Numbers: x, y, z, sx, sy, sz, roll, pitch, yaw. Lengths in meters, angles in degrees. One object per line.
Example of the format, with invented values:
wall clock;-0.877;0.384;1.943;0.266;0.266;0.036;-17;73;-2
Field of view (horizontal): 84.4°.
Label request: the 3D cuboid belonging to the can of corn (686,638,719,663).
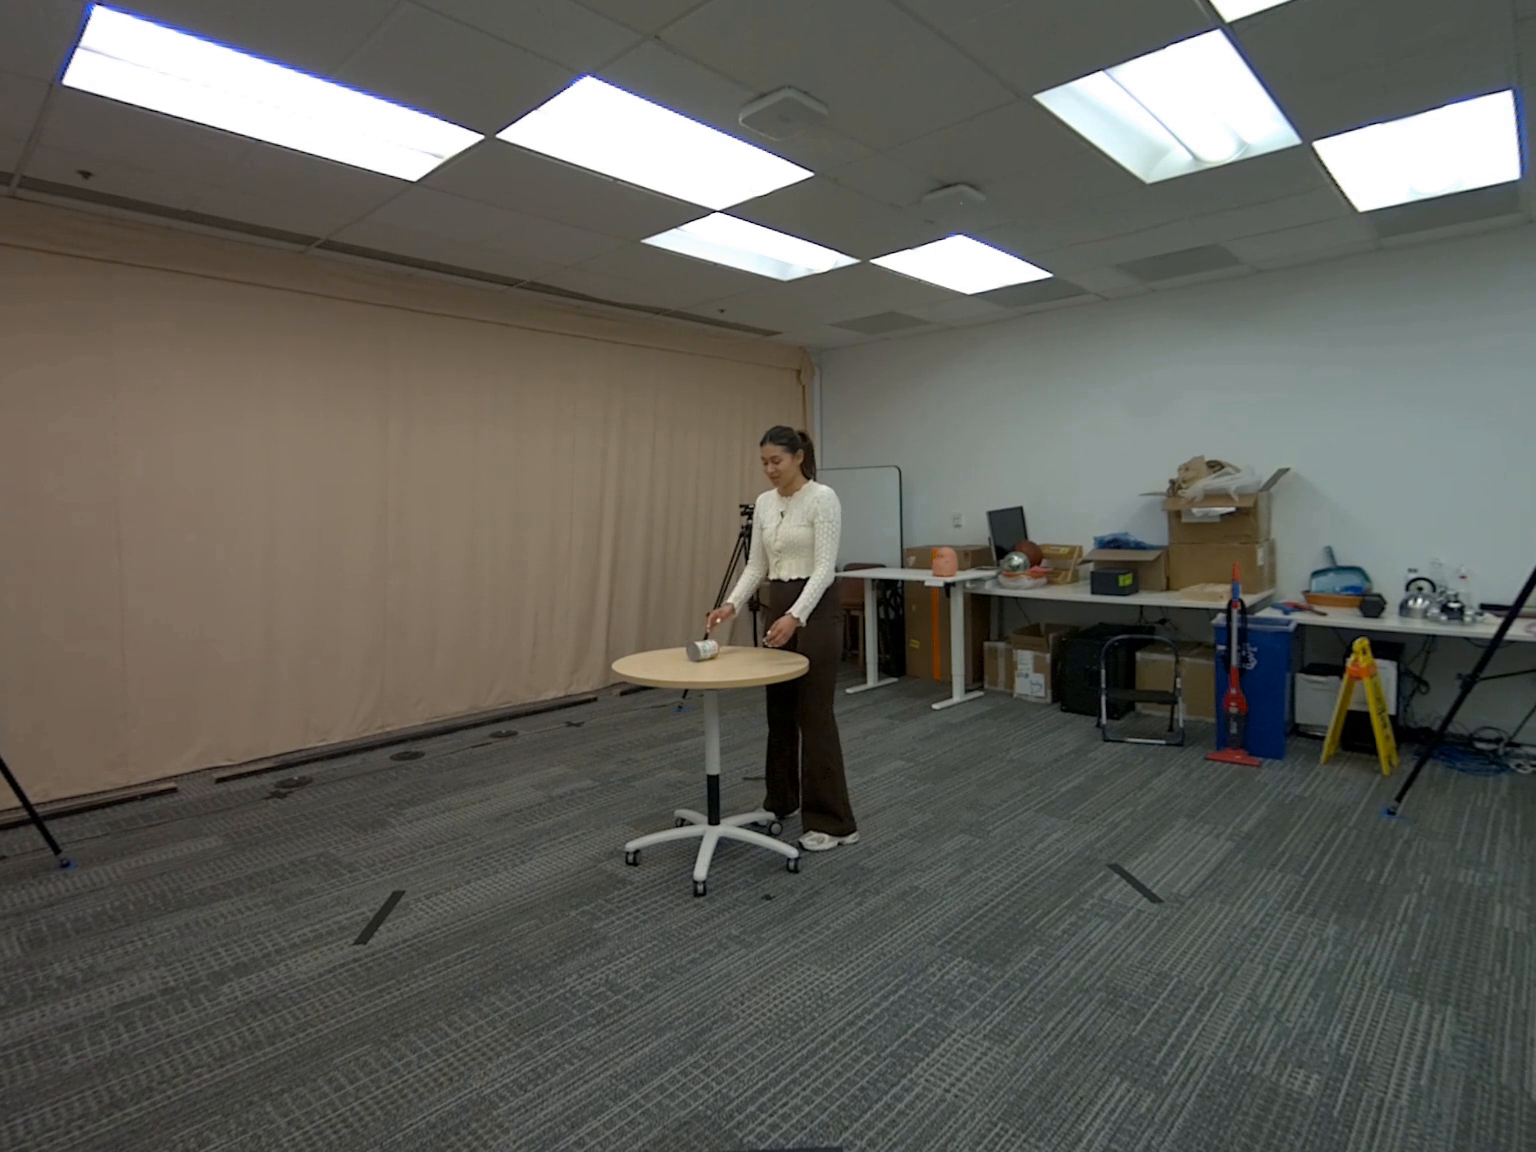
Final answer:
can of corn;-0.258;0.295;3.327;0.107;0.074;0.076;-3;4;-42
